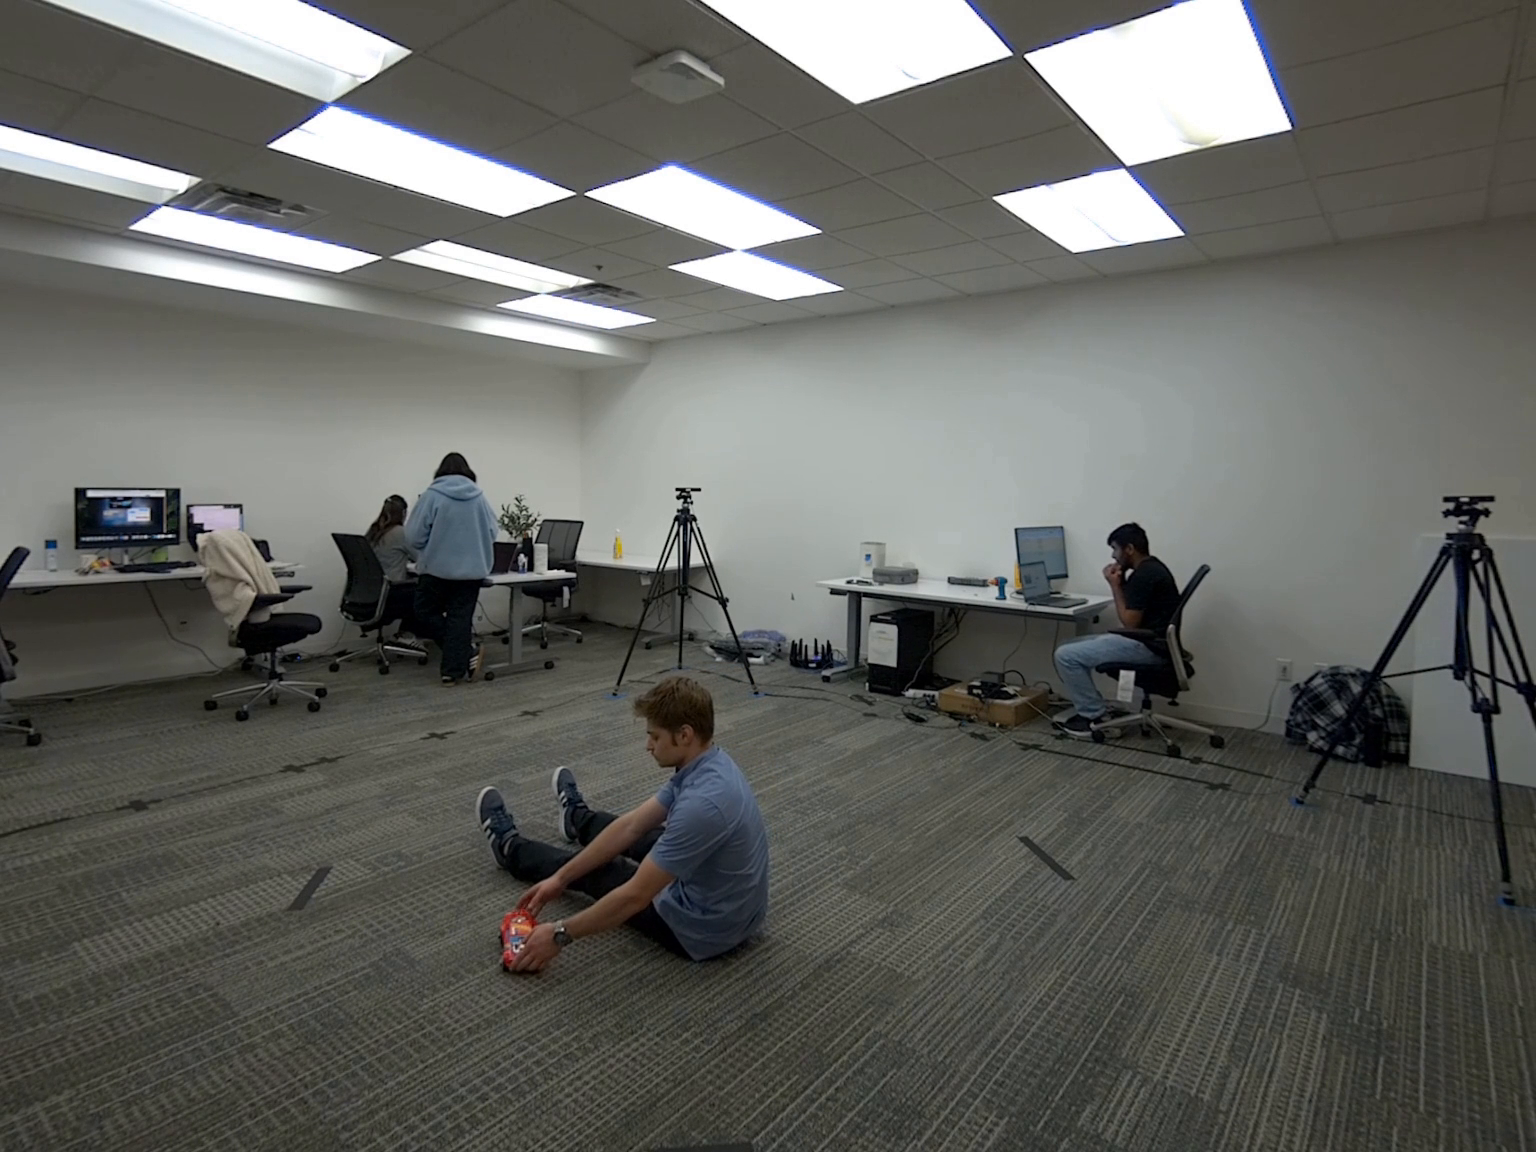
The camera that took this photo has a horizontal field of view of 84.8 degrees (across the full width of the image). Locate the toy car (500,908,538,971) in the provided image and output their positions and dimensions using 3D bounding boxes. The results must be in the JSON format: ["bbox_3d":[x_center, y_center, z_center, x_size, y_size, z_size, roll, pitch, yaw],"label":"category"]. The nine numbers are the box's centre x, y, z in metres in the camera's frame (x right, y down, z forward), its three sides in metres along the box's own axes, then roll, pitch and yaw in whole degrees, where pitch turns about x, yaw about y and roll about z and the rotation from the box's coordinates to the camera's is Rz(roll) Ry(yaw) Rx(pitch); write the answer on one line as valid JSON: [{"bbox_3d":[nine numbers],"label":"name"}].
[{"bbox_3d":[-0.753,1.082,2.551,0.128,0.082,0.263,-4,18,-18],"label":"toy car"}]
